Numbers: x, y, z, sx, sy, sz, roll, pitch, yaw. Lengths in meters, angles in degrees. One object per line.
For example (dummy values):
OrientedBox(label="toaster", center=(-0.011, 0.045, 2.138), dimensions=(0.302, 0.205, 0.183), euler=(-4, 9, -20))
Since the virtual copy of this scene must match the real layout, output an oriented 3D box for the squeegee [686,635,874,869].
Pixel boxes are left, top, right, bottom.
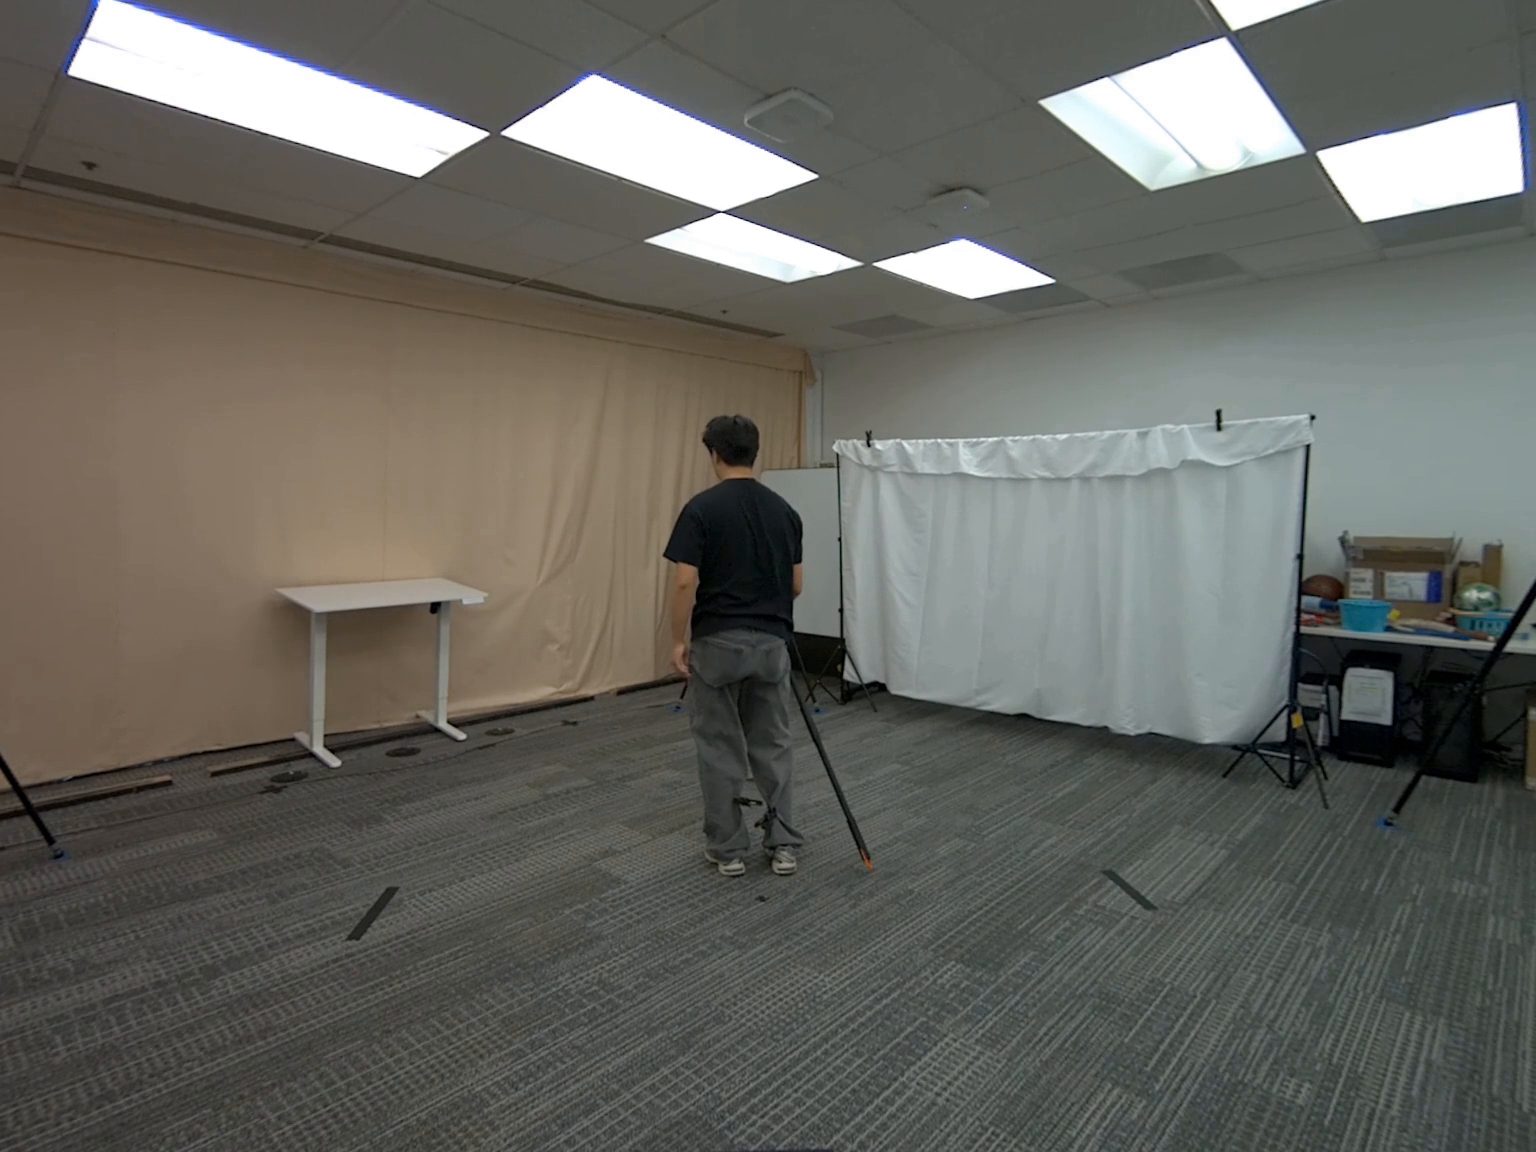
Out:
OrientedBox(label="squeegee", center=(0.127, 0.424, 3.457), dimensions=(0.425, 1.569, 0.053), euler=(-6, -28, -40))
